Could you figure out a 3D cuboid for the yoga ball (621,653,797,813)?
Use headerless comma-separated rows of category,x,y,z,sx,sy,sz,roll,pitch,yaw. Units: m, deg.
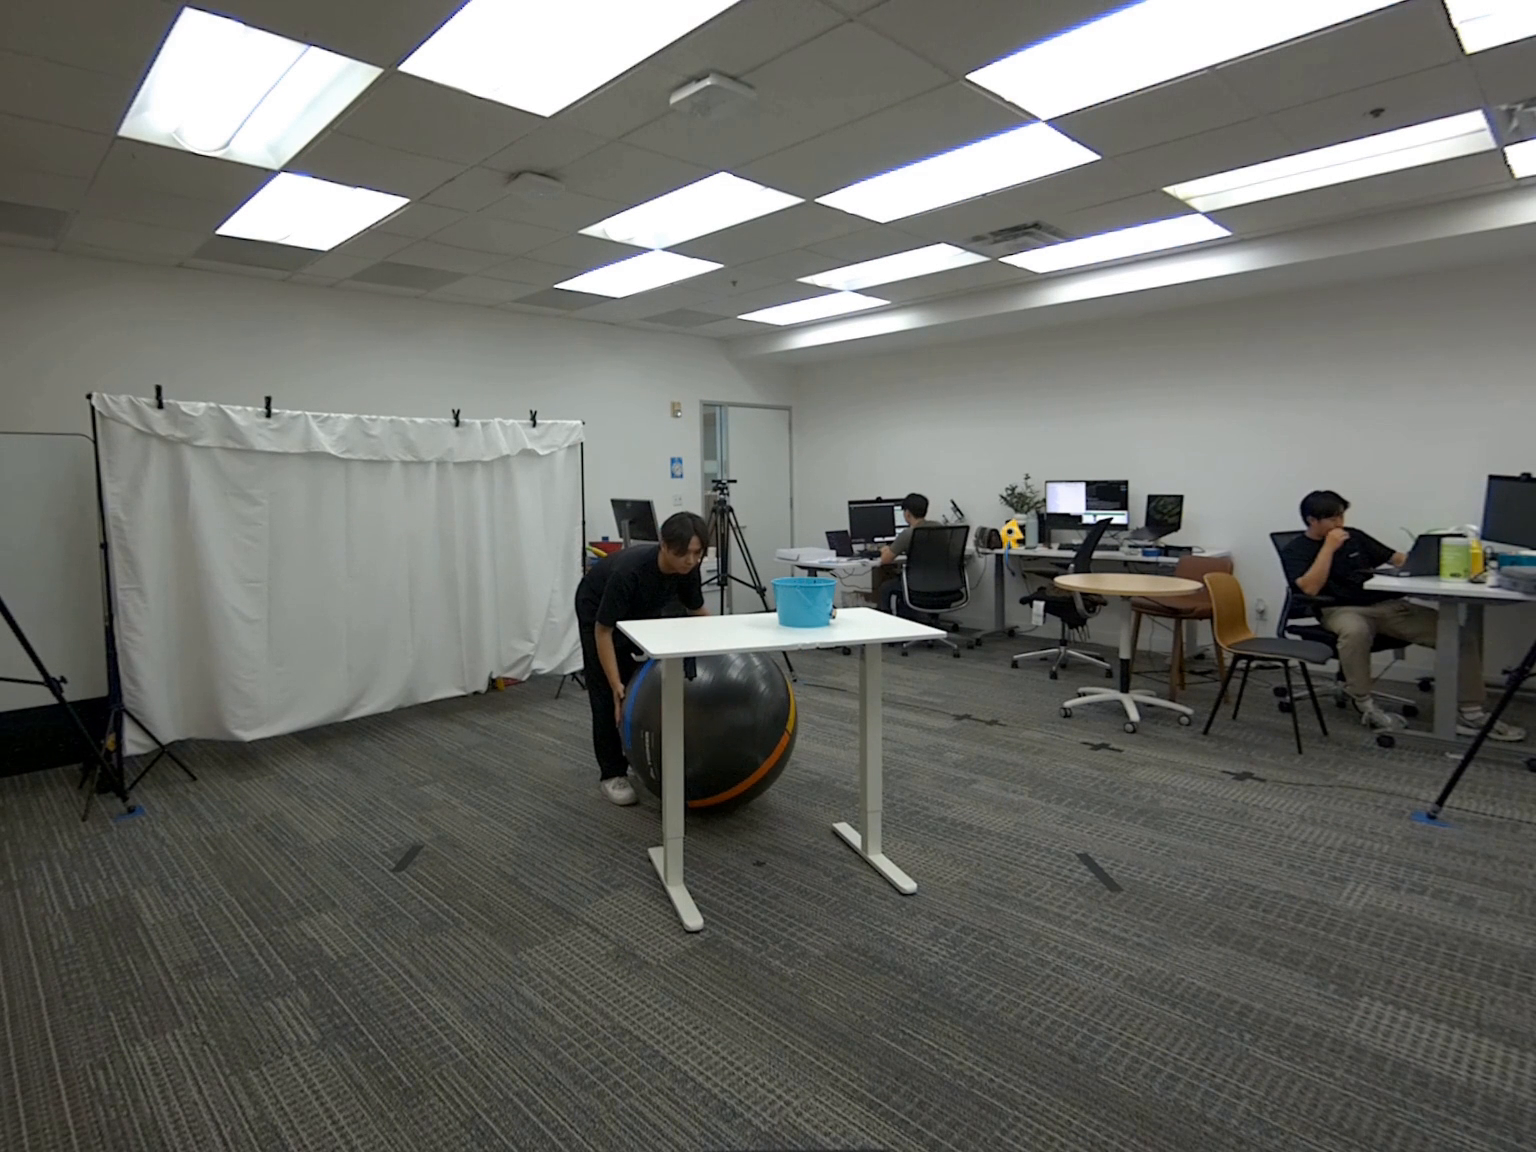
yoga ball,-0.251,0.623,3.658,0.757,0.755,0.762,-1,5,-2
